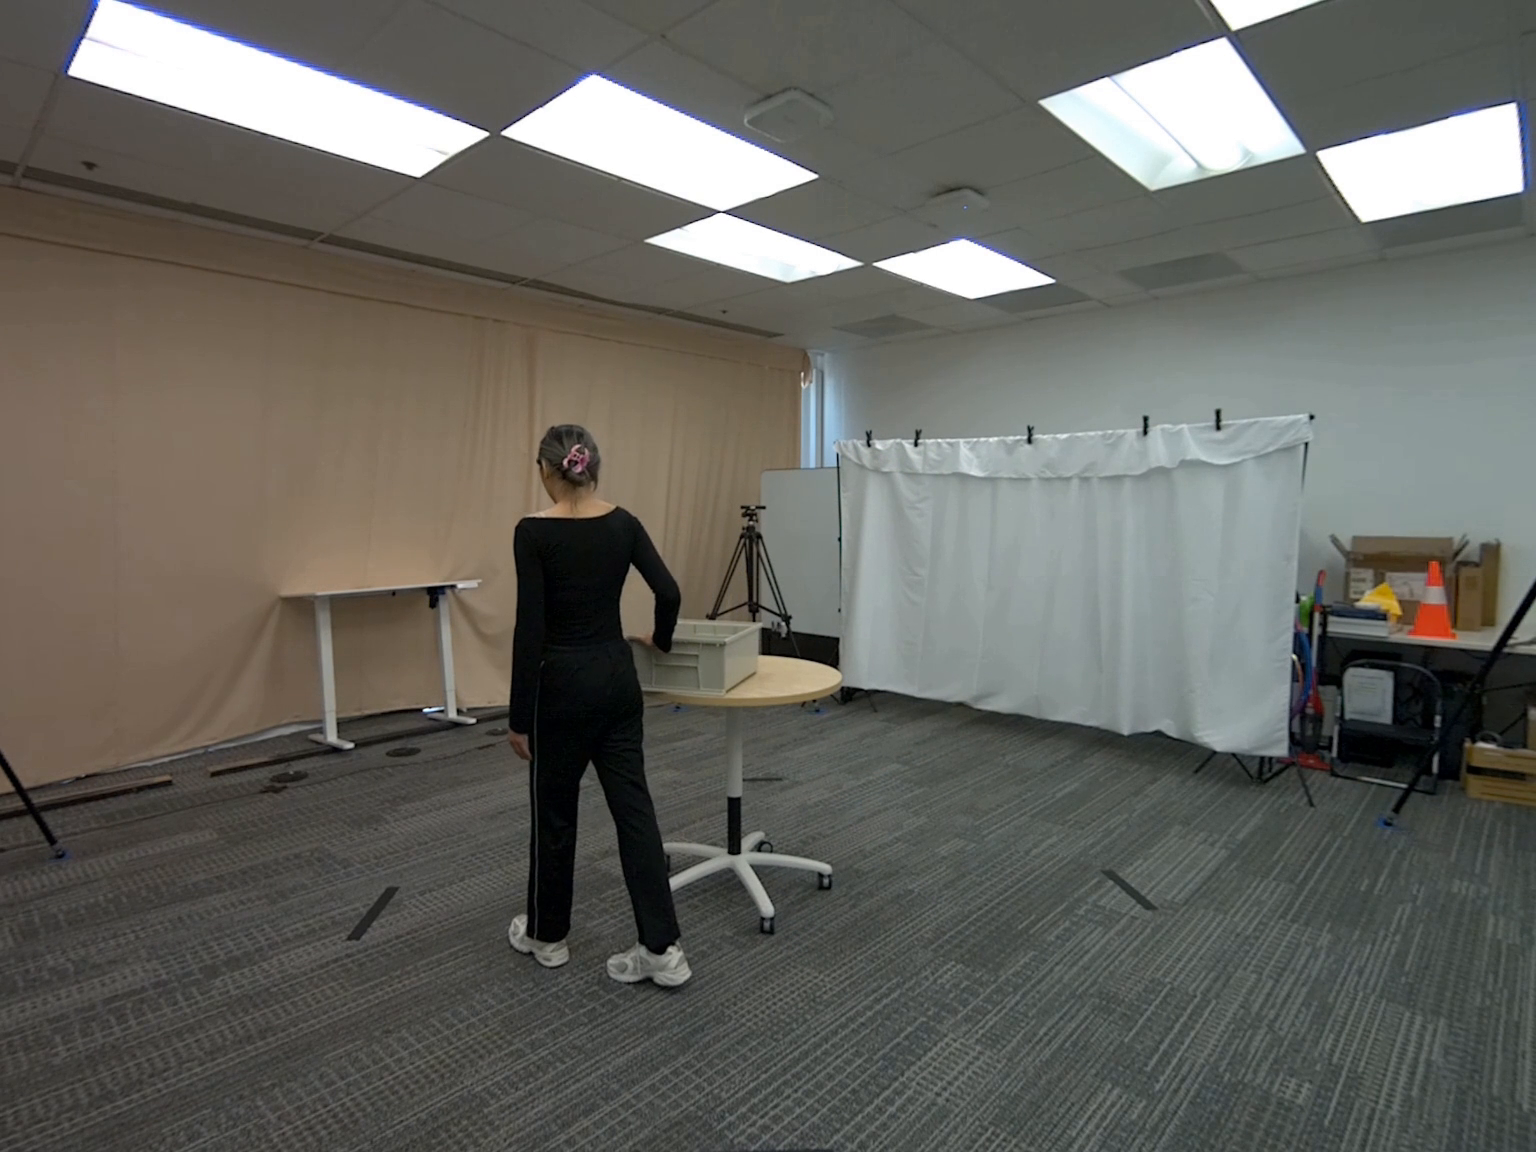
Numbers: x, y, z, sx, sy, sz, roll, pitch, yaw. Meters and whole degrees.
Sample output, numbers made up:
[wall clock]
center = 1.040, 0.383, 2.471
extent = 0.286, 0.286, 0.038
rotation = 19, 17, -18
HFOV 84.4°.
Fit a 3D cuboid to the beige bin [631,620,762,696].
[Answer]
[beige bin]
center = -0.251, 0.266, 2.884
extent = 0.384, 0.188, 0.415
rotation = 3, 4, 16
